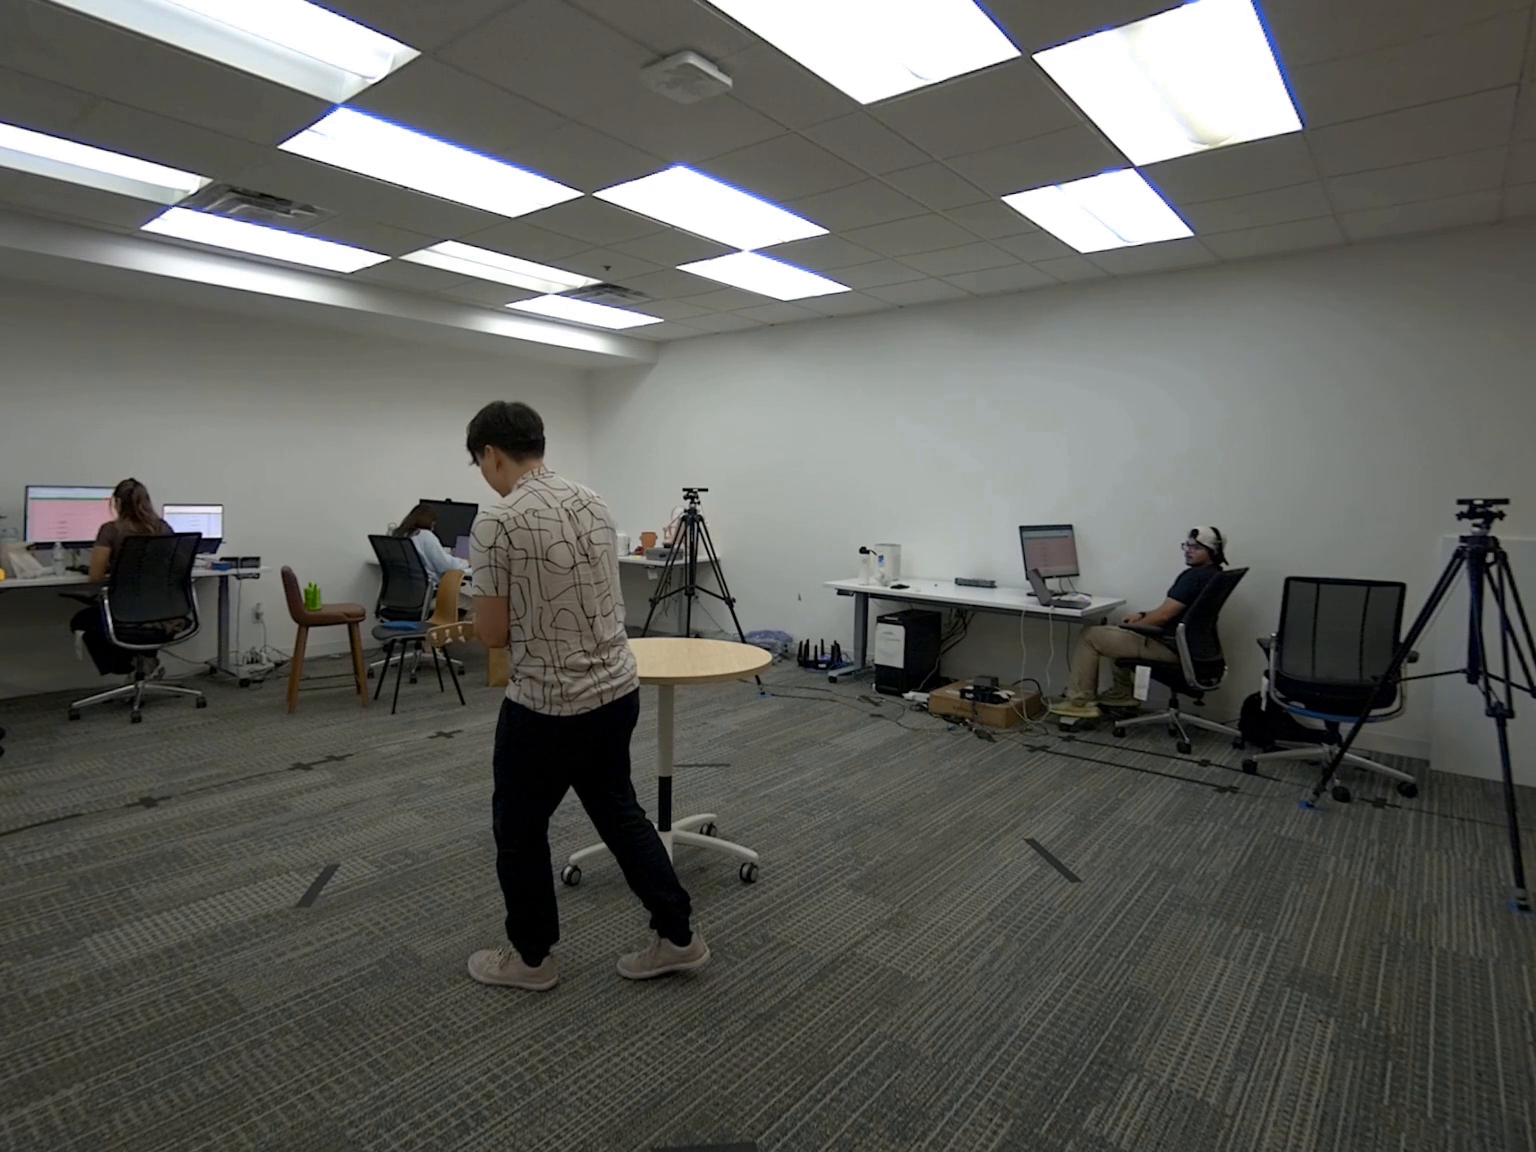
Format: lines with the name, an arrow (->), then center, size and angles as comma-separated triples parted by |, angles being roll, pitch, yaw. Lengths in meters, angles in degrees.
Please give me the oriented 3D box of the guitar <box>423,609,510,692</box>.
guitar -> -0.745, 0.159, 2.508 | 0.495, 0.190, 0.072 | -19, 13, -6
